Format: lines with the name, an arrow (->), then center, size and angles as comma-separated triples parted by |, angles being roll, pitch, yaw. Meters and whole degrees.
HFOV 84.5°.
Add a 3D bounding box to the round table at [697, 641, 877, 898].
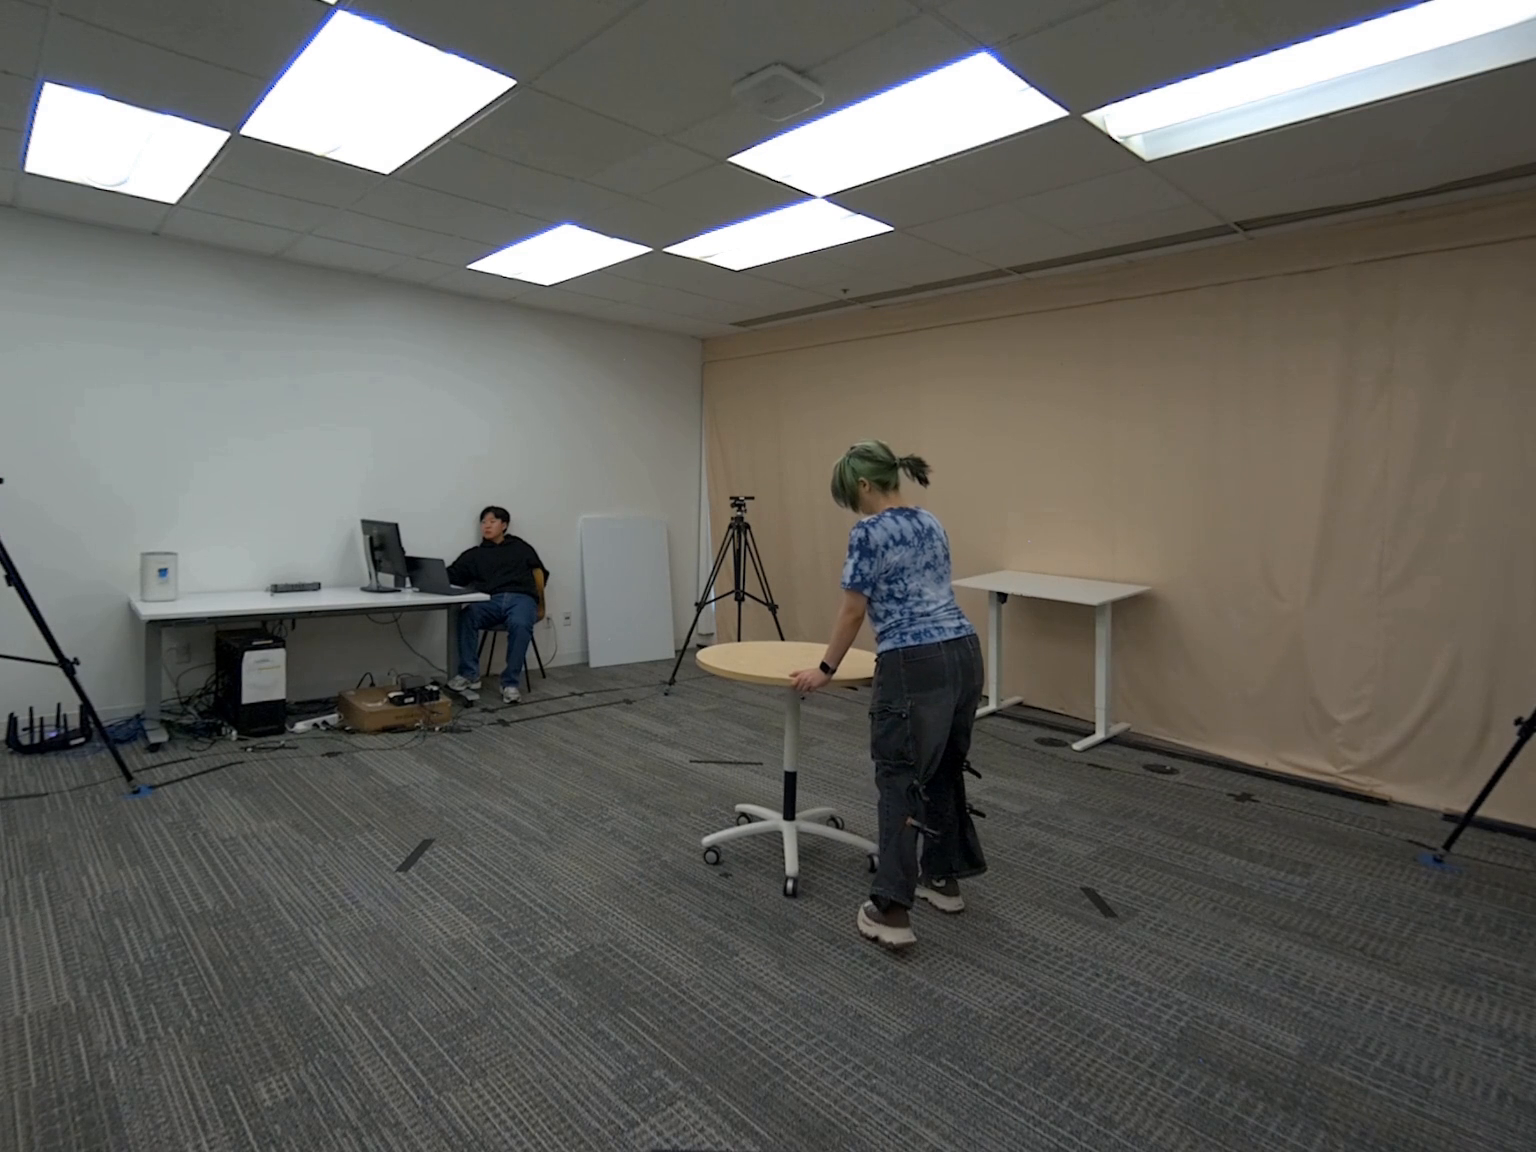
round table -> 0.086, 0.708, 3.283 | 0.763, 0.792, 0.766 | 2, 4, -2
